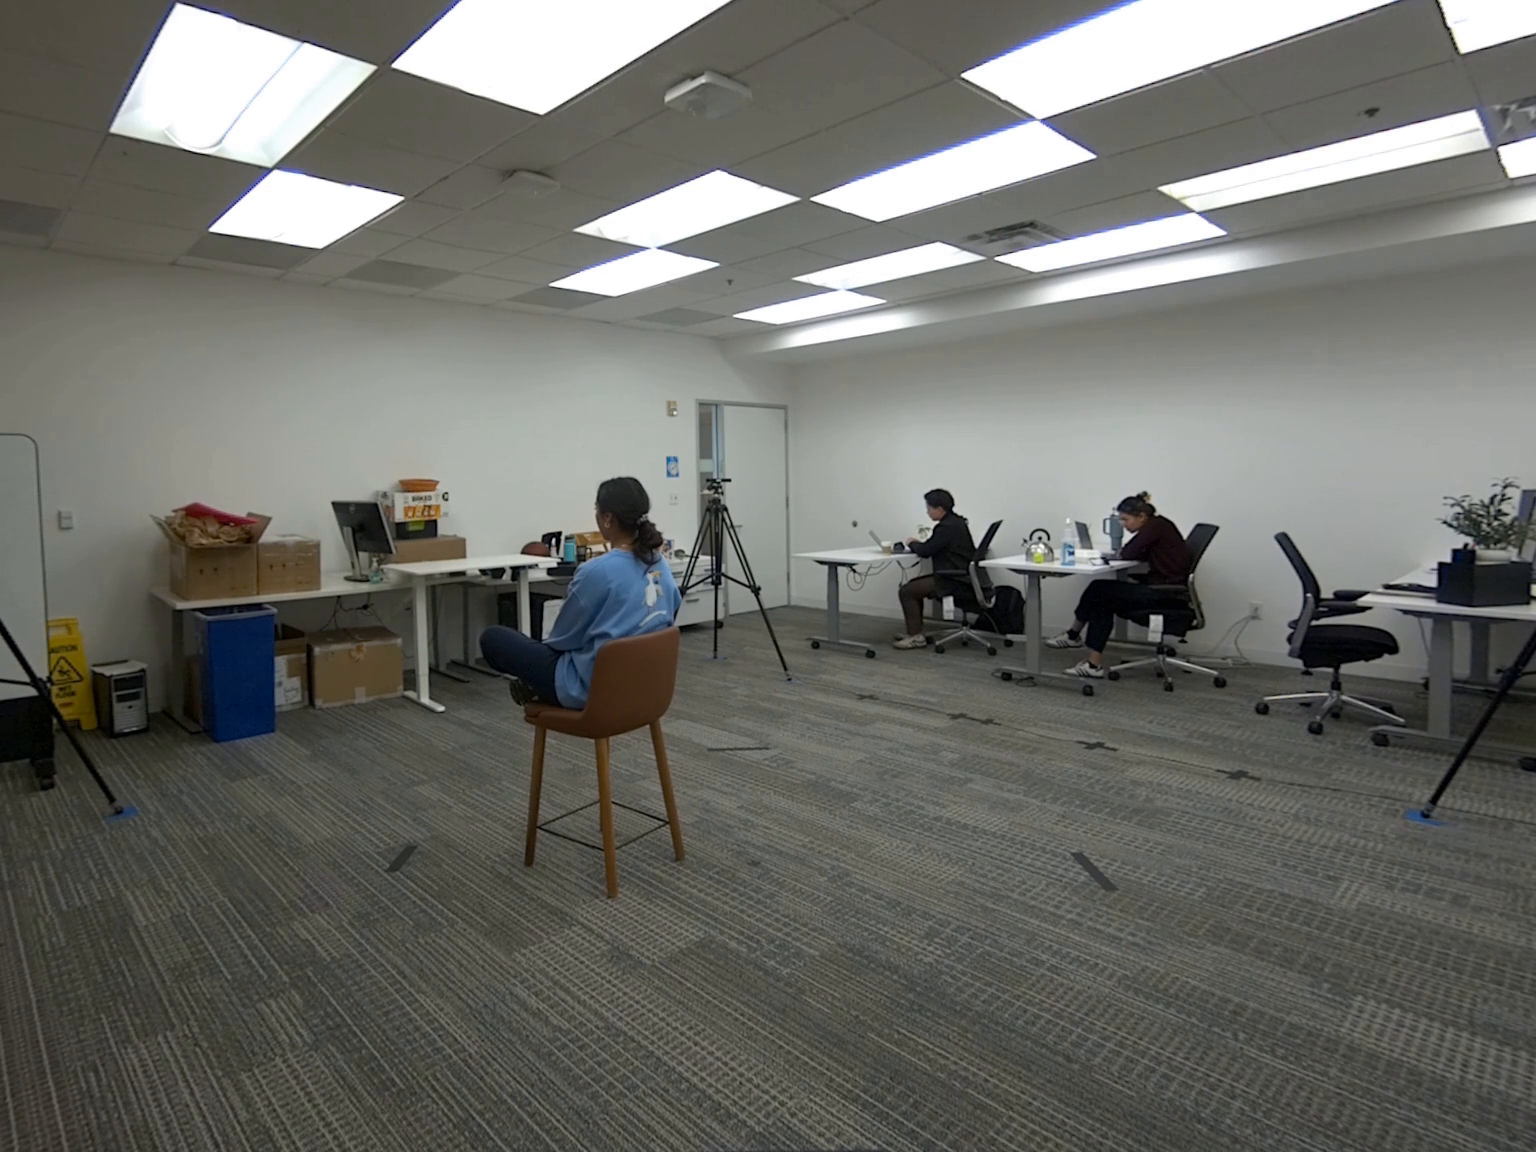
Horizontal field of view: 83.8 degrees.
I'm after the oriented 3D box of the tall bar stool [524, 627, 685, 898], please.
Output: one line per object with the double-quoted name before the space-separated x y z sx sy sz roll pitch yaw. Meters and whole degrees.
"tall bar stool" -0.594 0.620 3.112 0.482 0.885 0.445 4 7 37
